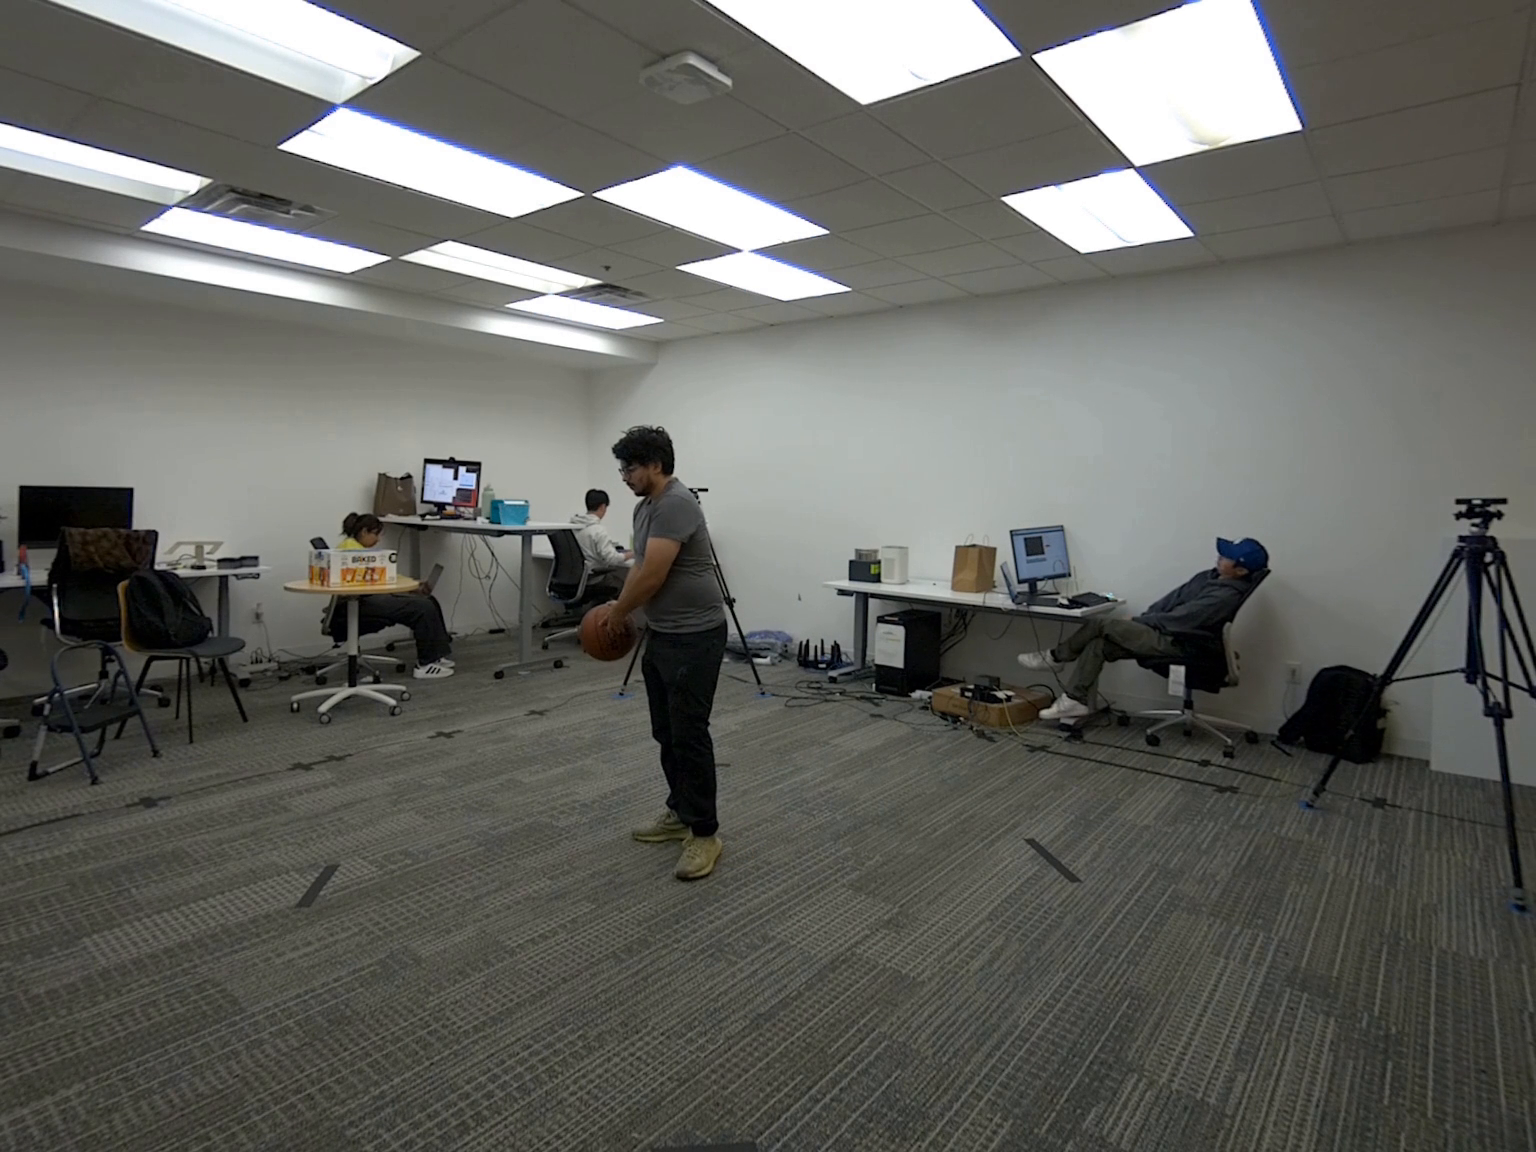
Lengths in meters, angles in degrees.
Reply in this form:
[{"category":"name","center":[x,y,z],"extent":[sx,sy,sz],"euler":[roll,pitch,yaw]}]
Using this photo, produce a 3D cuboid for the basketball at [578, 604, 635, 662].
[{"category":"basketball","center":[-0.677,0.231,3.536],"extent":[0.235,0.235,0.237],"euler":[1,4,-2]}]
